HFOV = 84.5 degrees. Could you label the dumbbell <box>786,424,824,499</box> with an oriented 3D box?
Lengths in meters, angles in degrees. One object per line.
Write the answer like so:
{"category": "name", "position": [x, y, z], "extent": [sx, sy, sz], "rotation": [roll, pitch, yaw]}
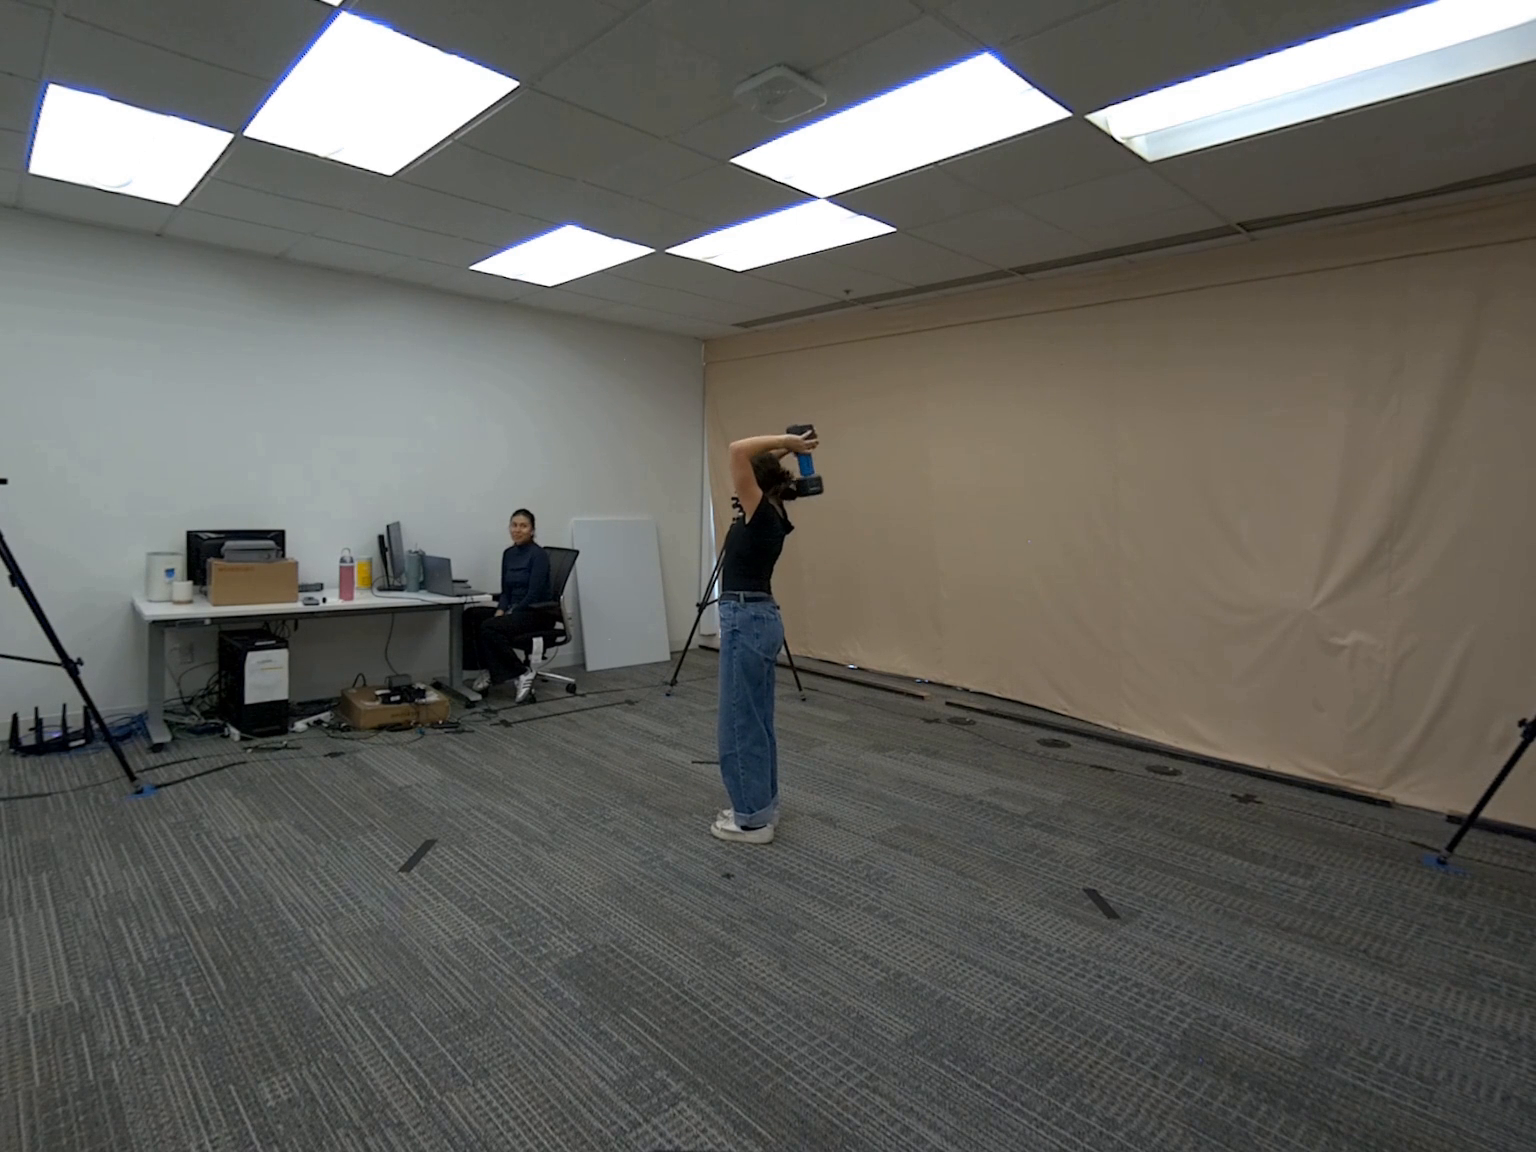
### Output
{"category": "dumbbell", "position": [0.140, -0.472, 3.418], "extent": [0.106, 0.293, 0.125], "rotation": [-9, 0, -44]}
